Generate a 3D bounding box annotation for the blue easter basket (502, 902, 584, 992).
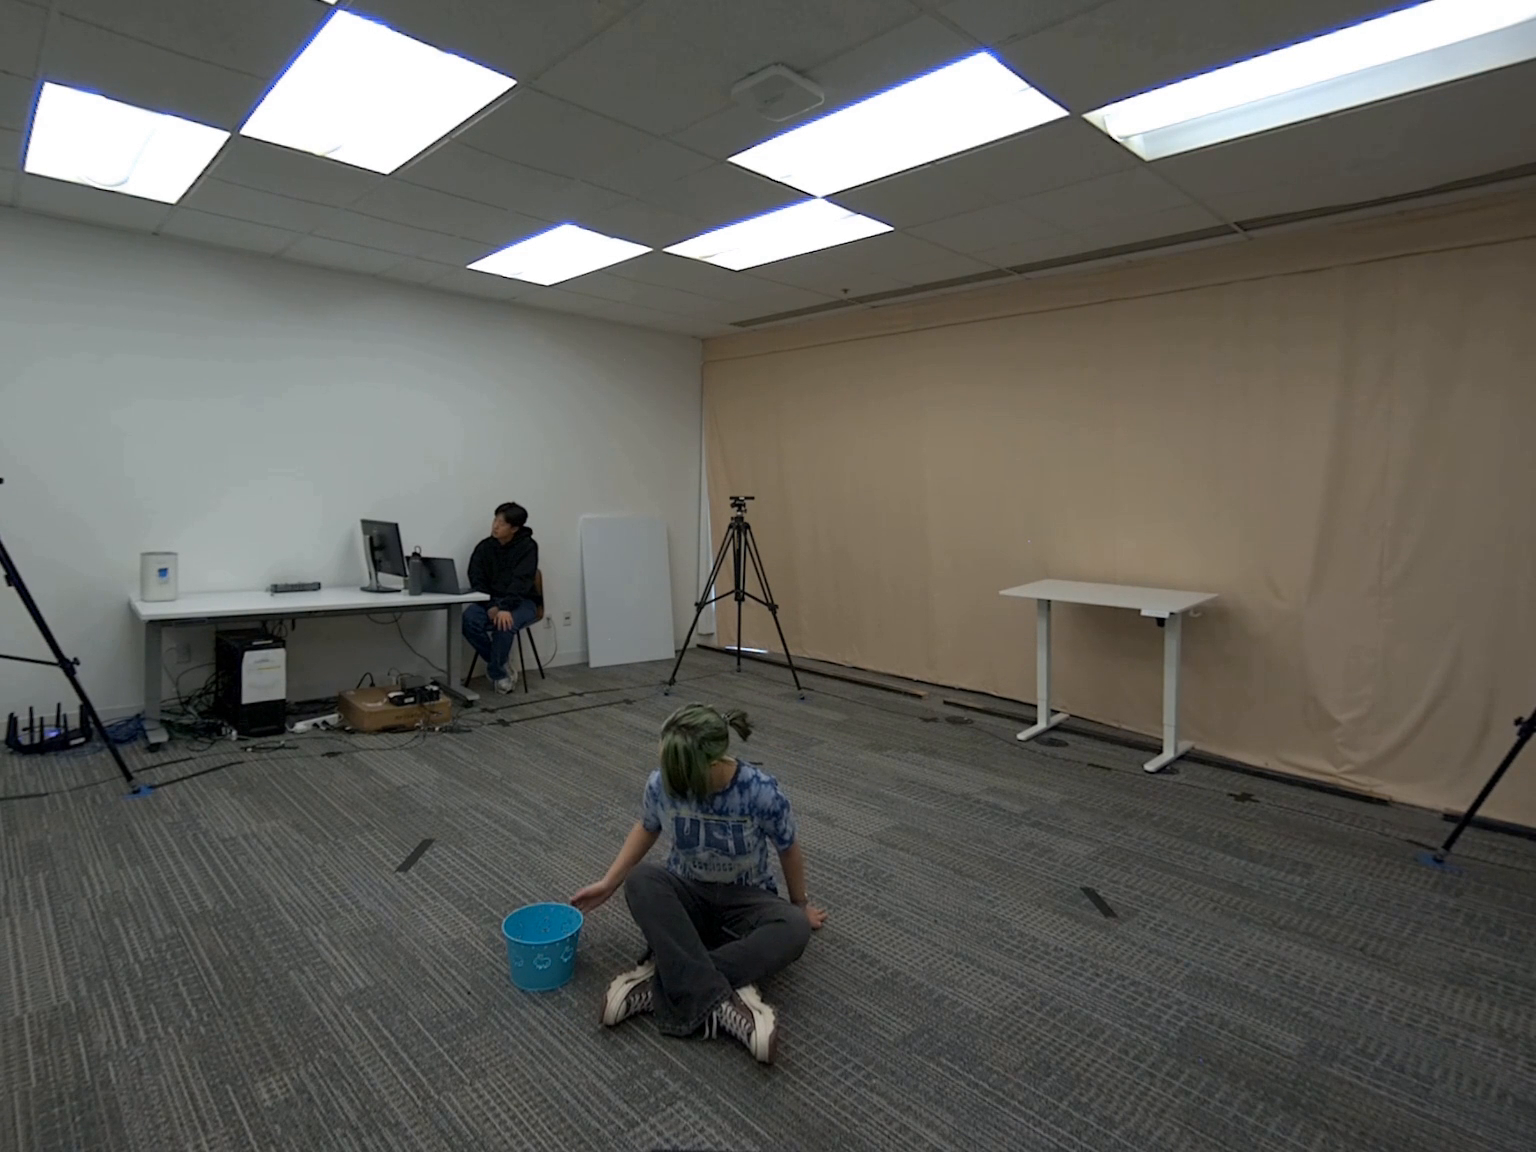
[{"bbox_3d":[-0.653,1.072,2.437,0.243,0.155,0.244,1,5,-1],"label":"blue easter basket"}]
